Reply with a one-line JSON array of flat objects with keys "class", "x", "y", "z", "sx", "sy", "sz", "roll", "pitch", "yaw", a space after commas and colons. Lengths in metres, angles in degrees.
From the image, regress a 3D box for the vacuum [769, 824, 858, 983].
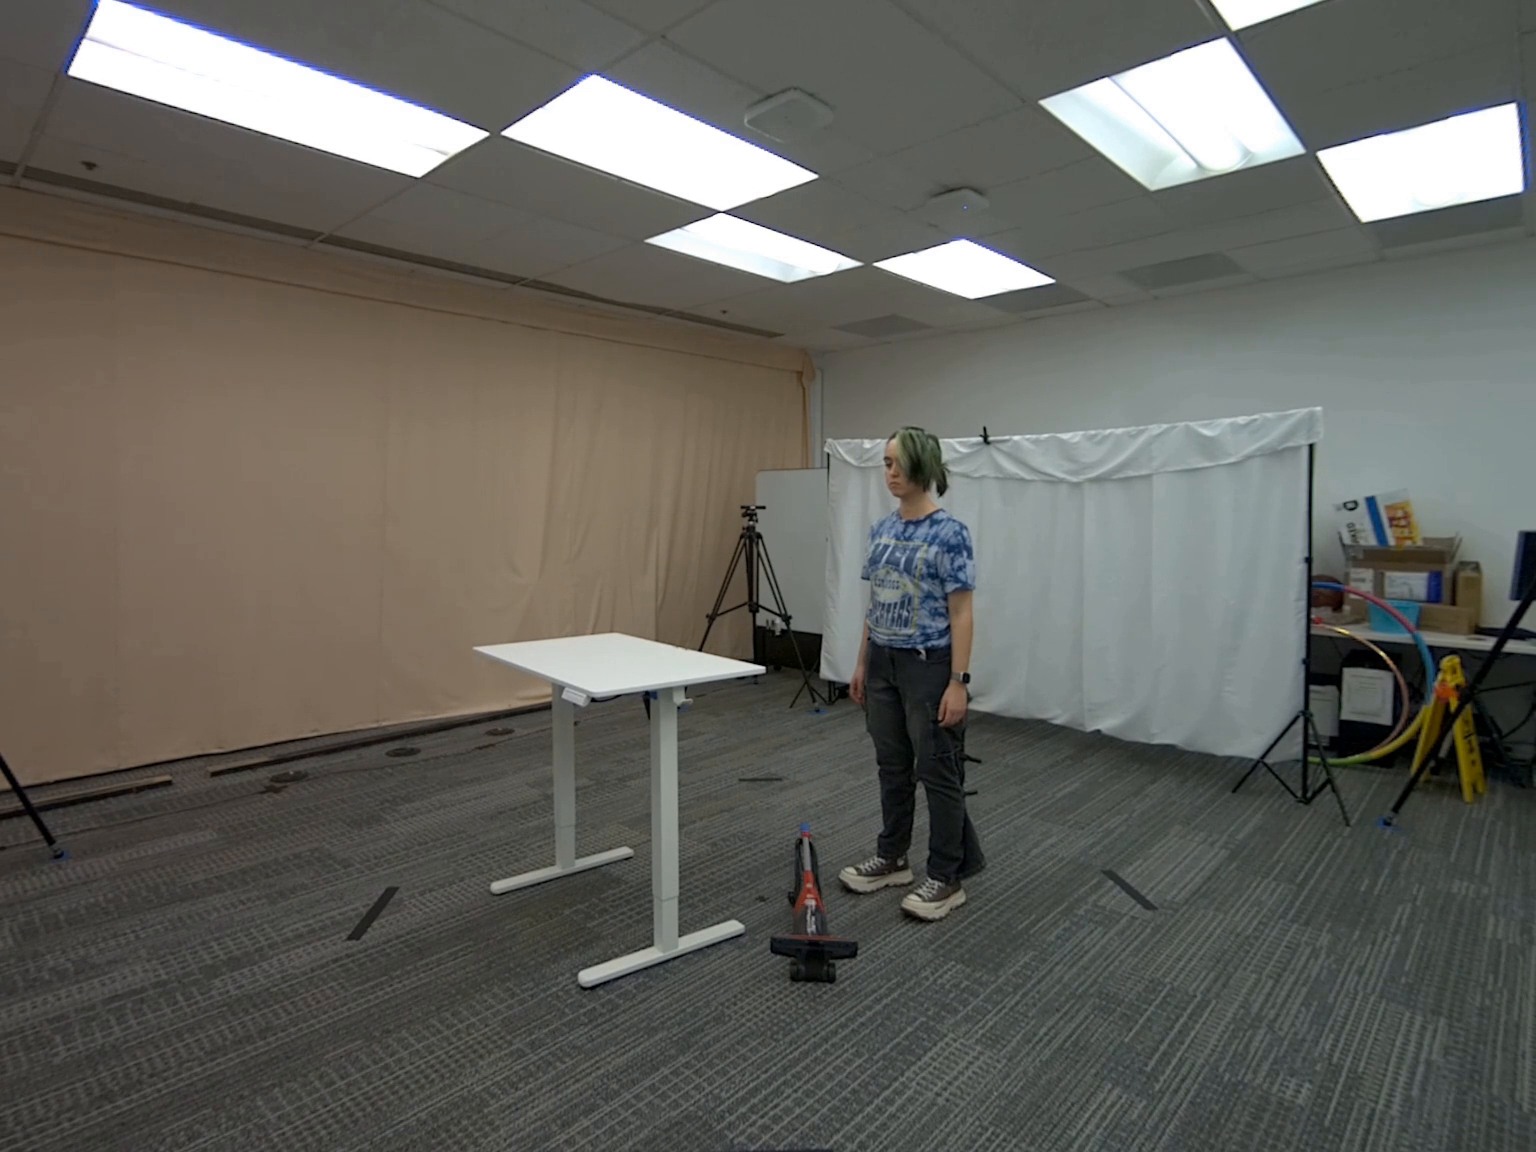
[{"class": "vacuum", "x": 0.133, "y": 1.082, "z": 2.959, "sx": 0.253, "sy": 0.144, "sz": 1.050, "roll": 1, "pitch": 4, "yaw": -1}]
